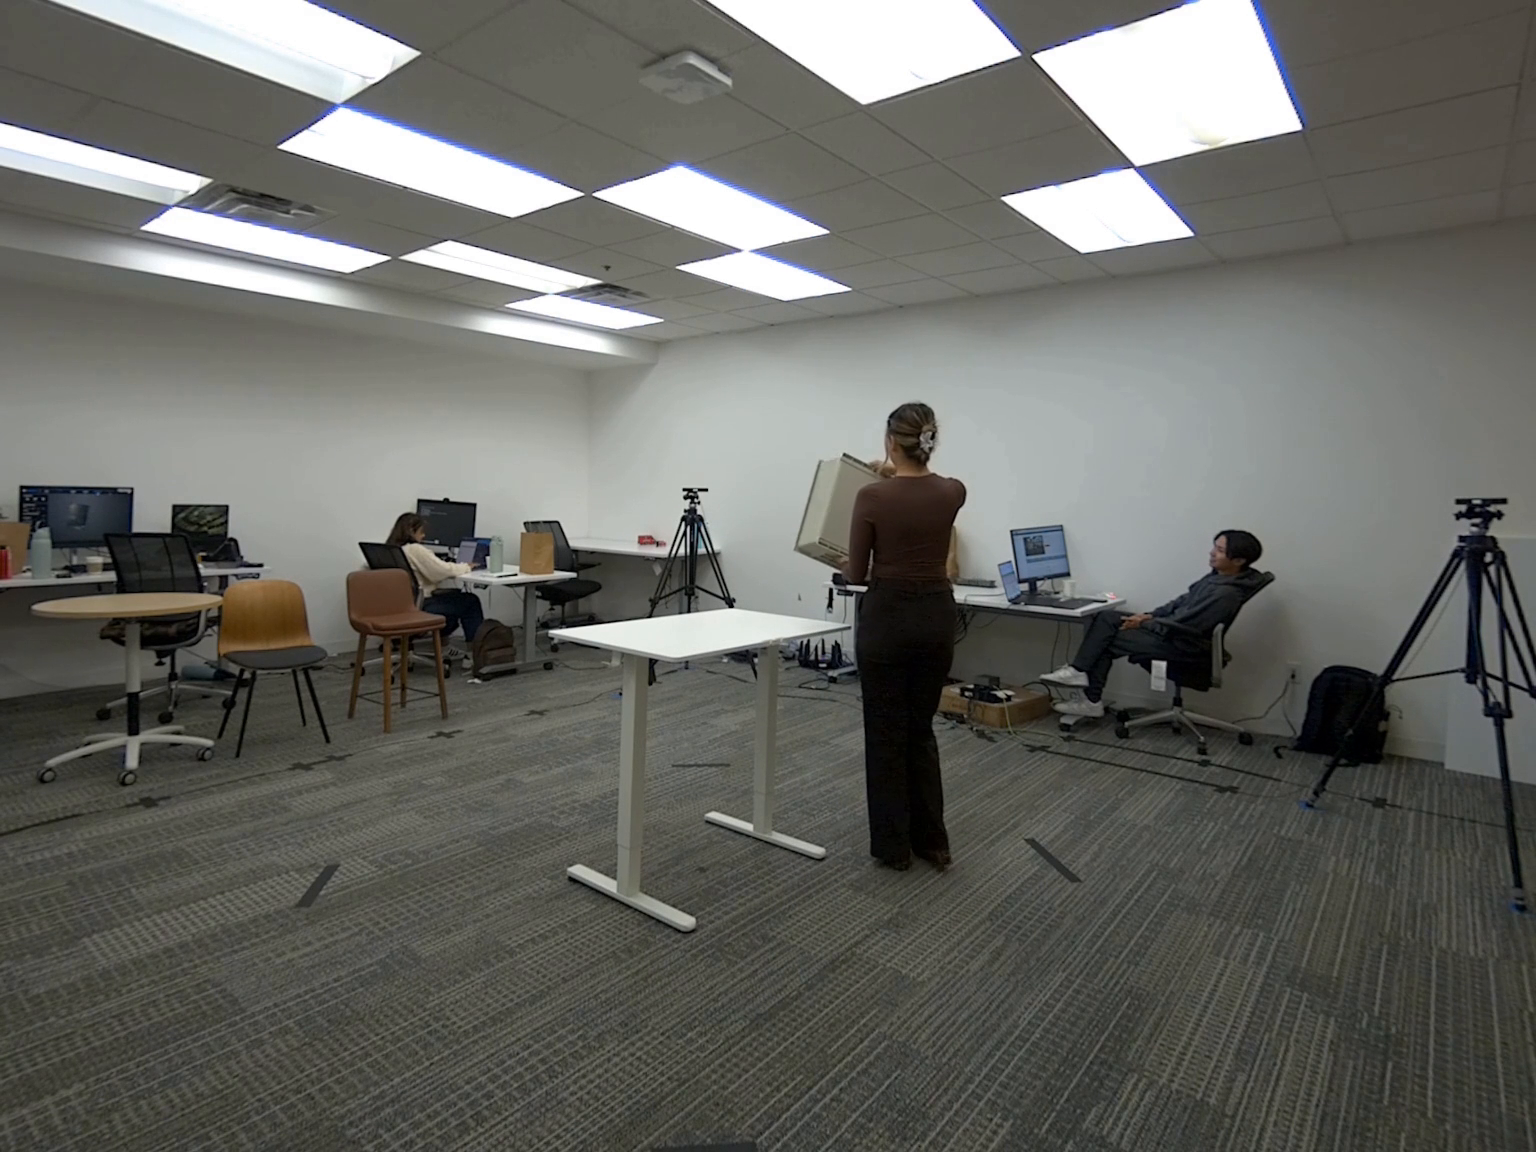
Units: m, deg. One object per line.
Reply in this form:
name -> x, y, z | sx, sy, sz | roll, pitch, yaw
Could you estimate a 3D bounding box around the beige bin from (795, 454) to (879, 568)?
beige bin -> 0.351, -0.247, 3.560 | 0.368, 0.426, 0.192 | 24, -17, -20
